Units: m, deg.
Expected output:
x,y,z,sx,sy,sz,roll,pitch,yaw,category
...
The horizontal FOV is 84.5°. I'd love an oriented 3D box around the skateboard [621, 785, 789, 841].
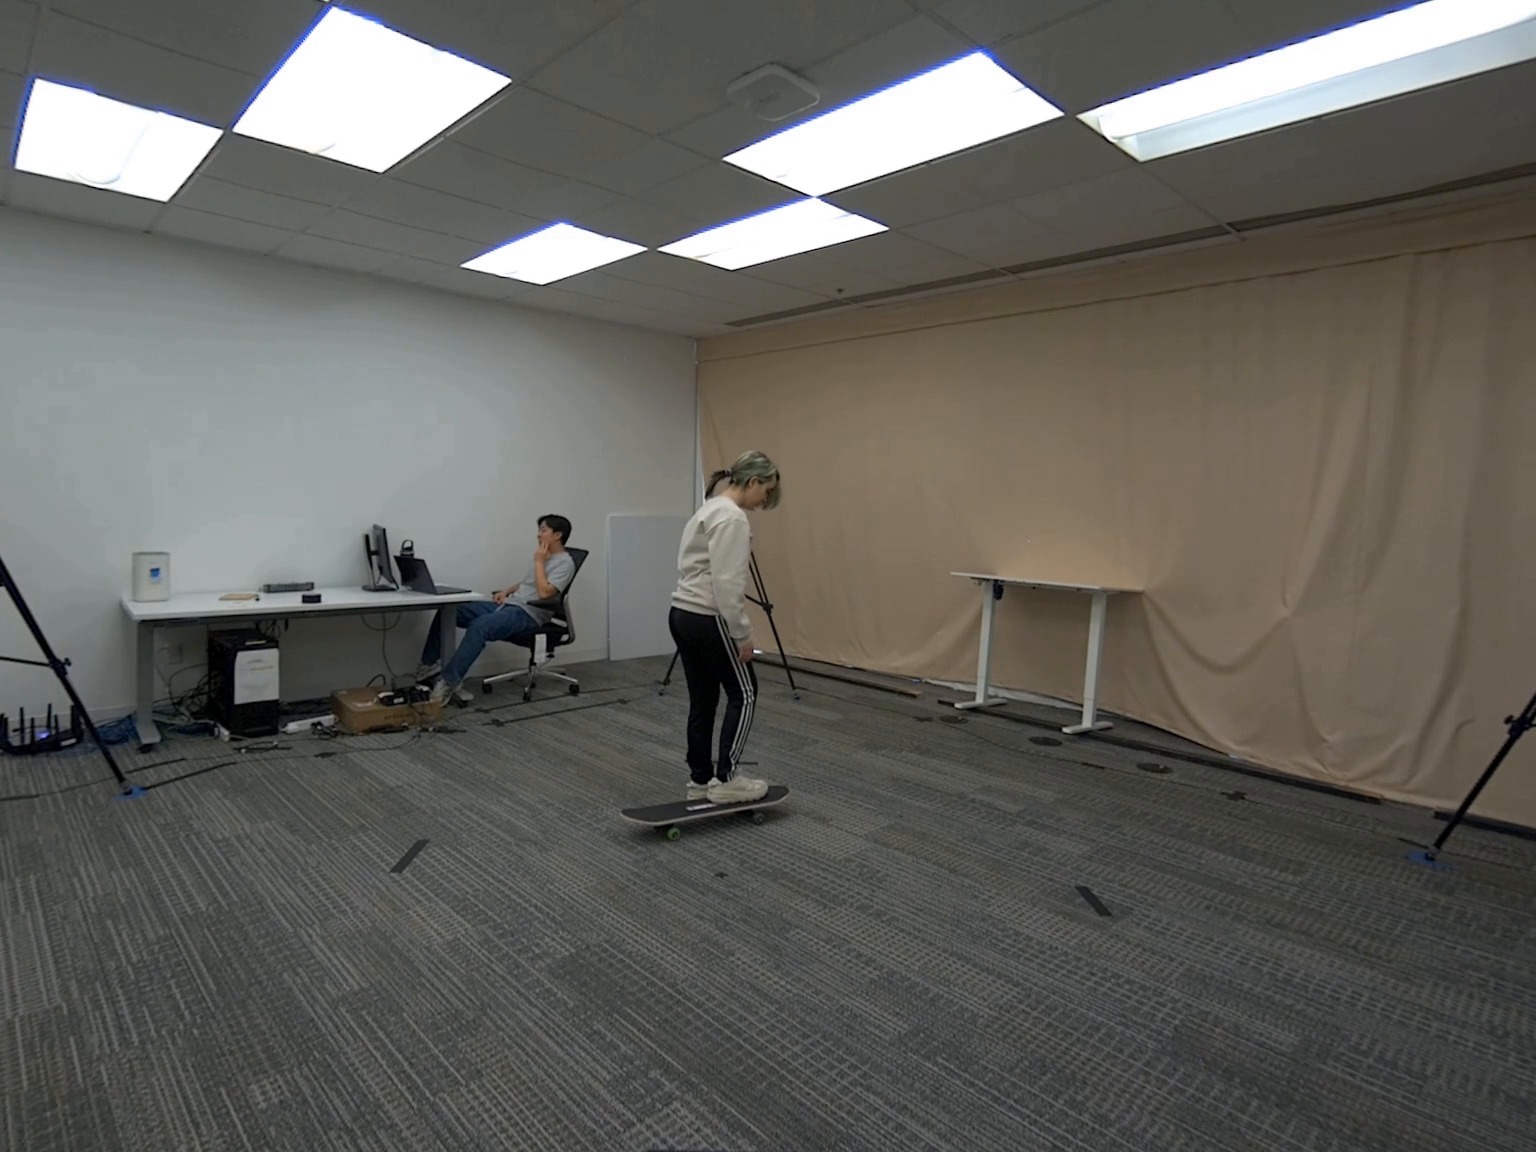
x,y,z,sx,sy,sz,roll,pitch,yaw,category
-0.261,1.008,3.577,0.769,0.110,0.198,-1,3,-30,skateboard
